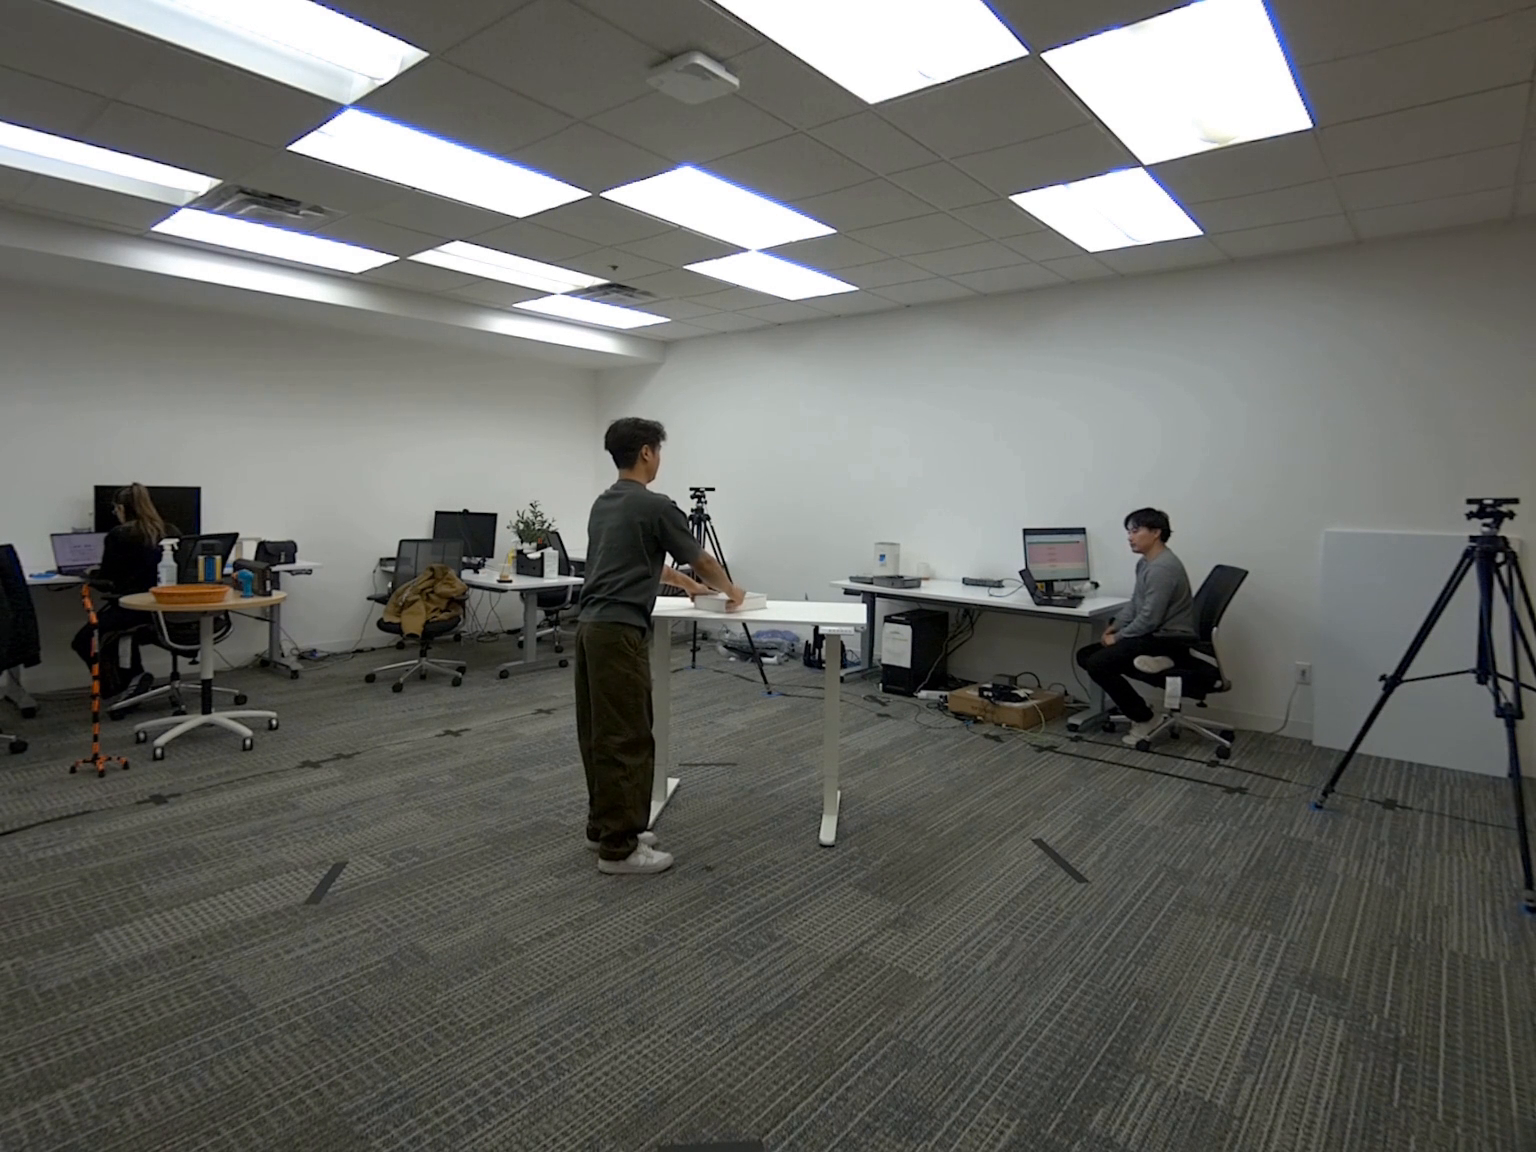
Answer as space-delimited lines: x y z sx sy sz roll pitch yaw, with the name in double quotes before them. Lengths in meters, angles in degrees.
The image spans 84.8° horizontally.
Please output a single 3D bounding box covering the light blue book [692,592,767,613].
"light blue book" -0.164 0.109 3.635 0.198 0.059 0.253 5 7 44
